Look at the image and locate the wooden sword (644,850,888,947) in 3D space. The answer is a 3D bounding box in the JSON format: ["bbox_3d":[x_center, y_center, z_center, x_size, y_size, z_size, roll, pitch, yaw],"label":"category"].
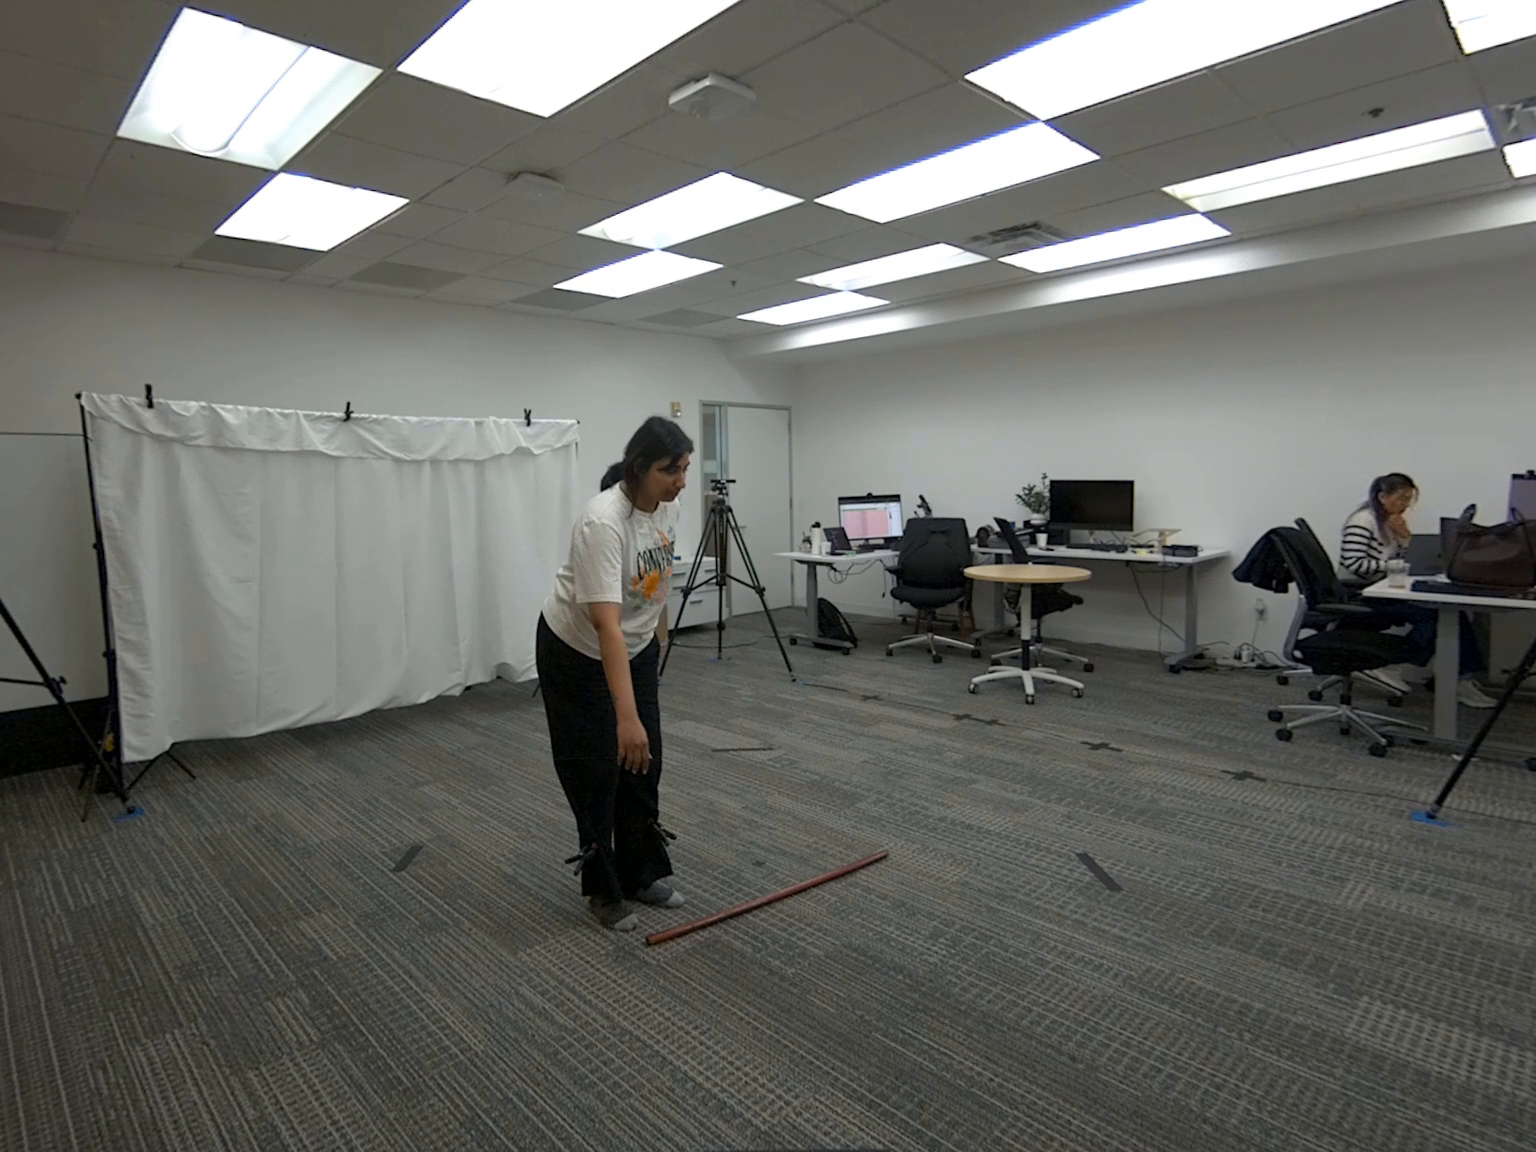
[{"bbox_3d":[0.043,1.052,2.865,0.999,0.024,0.053,-5,7,-35],"label":"wooden sword"}]
